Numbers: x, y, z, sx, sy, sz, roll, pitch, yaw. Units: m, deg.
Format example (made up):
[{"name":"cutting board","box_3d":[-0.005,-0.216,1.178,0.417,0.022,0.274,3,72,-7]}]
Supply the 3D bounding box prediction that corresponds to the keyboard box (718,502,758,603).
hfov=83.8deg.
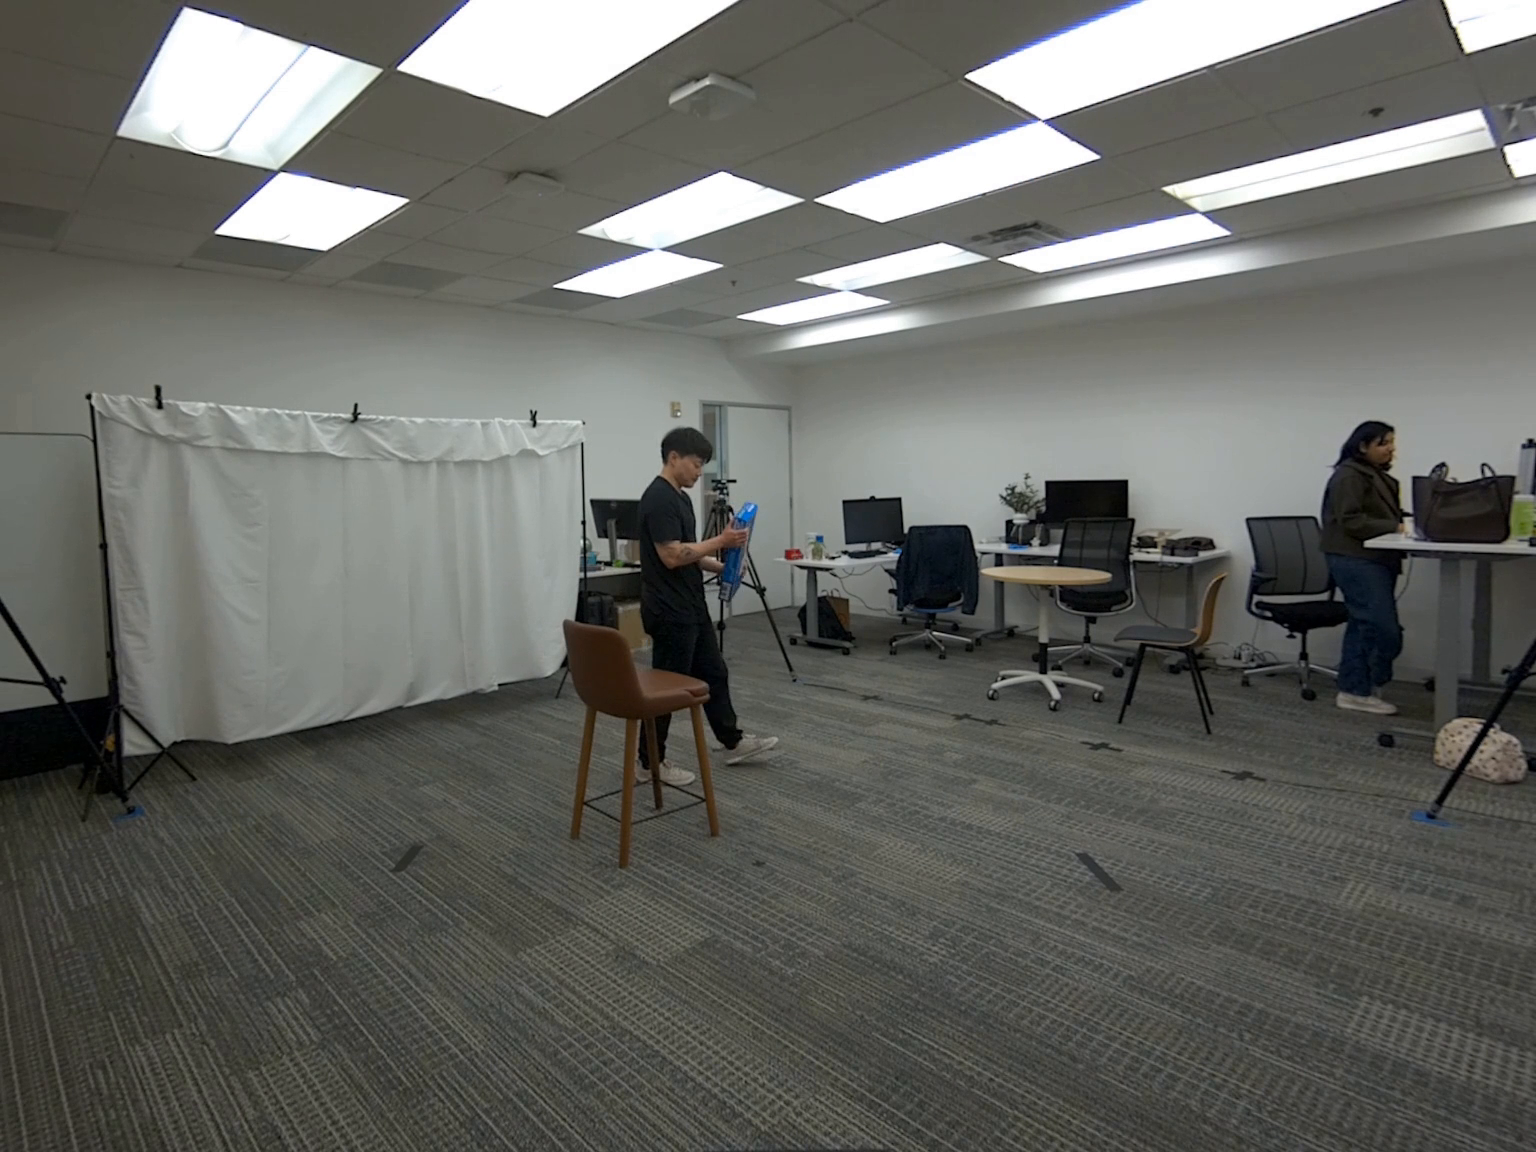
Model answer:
[{"name":"keyboard box","box_3d":[-0.139,-0.107,3.901,0.060,0.428,0.177,17,31,9]}]
